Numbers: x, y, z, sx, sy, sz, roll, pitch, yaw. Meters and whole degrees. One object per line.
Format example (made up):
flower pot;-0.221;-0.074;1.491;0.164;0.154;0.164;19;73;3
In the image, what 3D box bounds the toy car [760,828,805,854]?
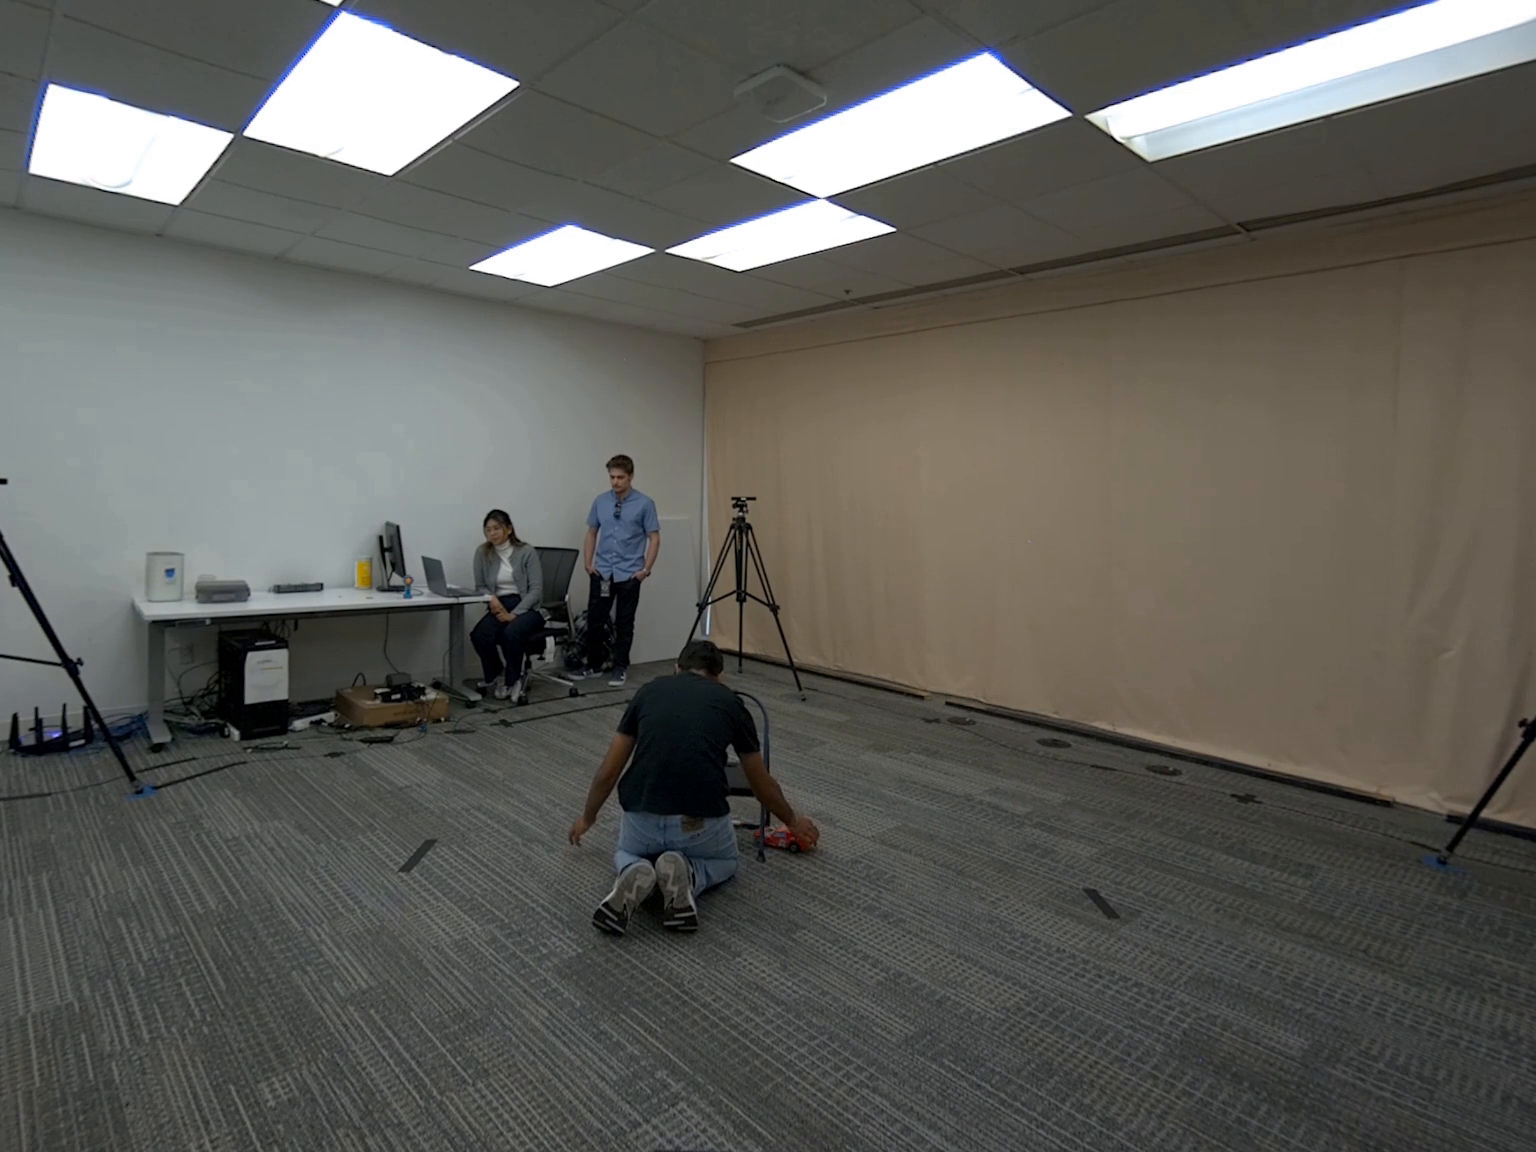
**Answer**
toy car;0.044;1.057;3.390;0.257;0.083;0.128;-7;0;17
